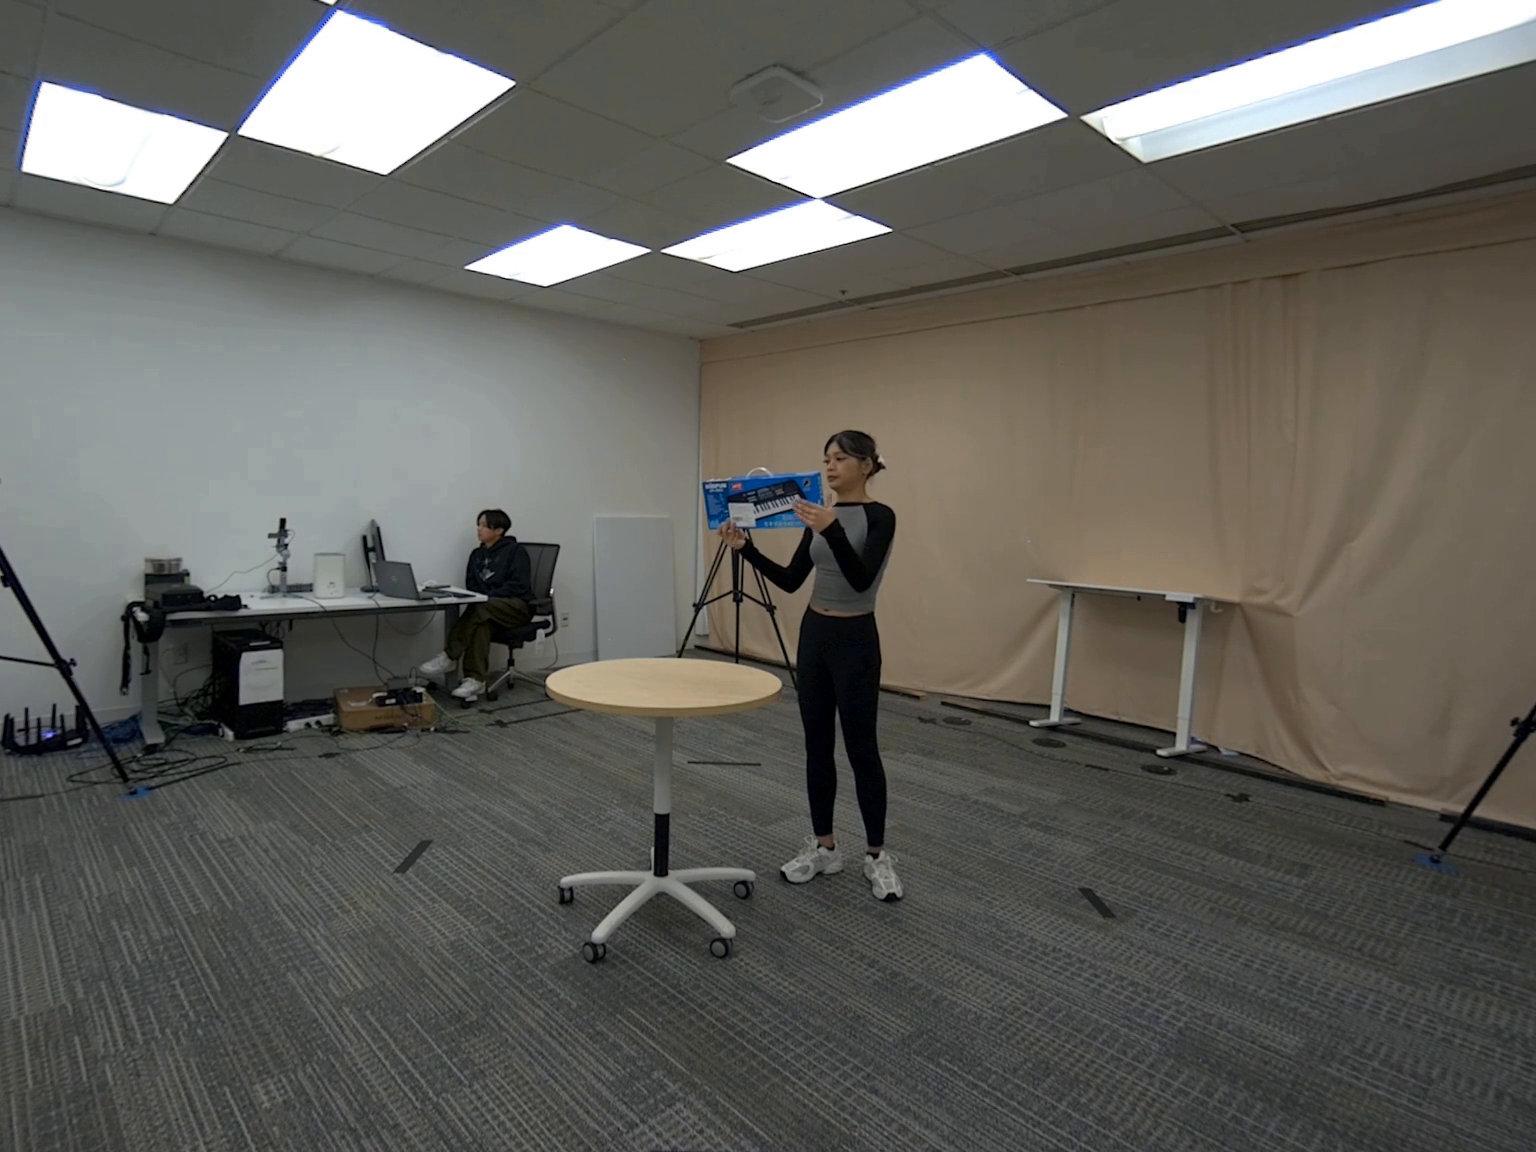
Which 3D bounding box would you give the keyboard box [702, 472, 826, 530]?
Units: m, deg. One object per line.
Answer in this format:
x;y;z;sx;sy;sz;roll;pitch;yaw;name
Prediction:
-0.020;-0.247;2.854;0.446;0.174;0.058;0;13;32;keyboard box
